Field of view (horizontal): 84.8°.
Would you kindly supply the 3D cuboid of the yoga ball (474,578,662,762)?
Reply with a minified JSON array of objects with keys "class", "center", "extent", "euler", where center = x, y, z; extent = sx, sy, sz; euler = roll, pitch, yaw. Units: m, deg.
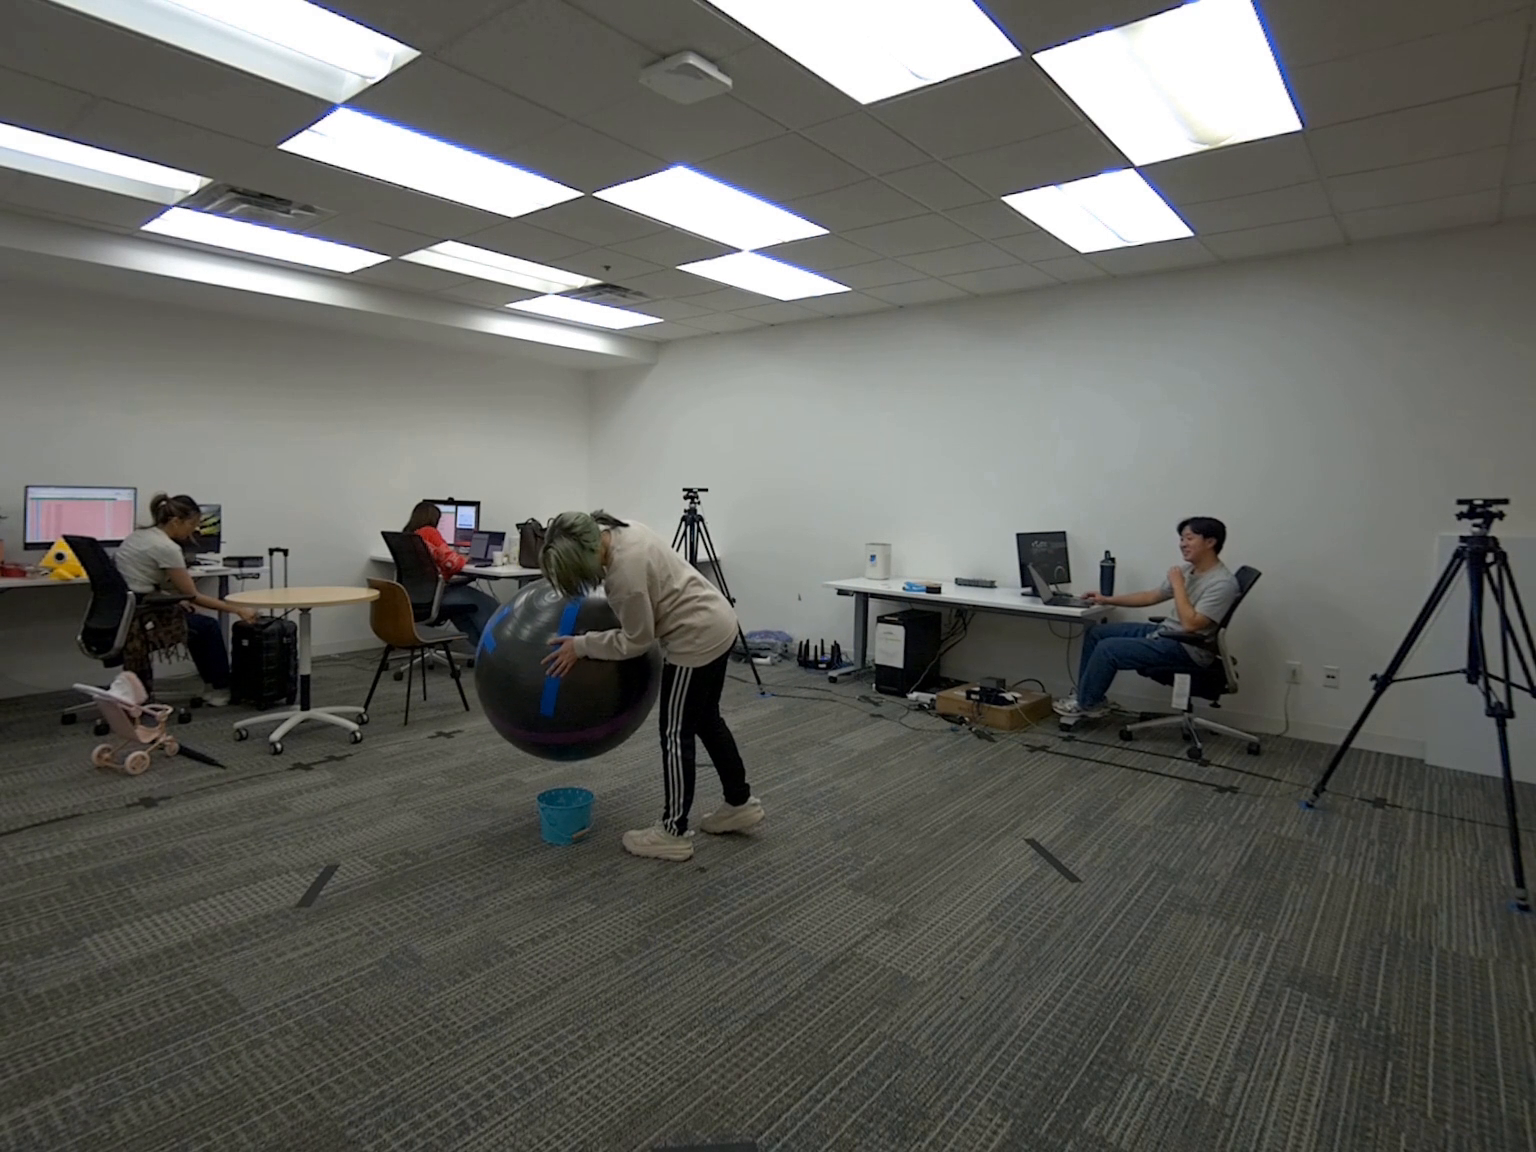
[{"class":"yoga ball","center":[-0.829,0.384,3.493],"extent":[0.757,0.755,0.762],"euler":[1,4,-2]}]
